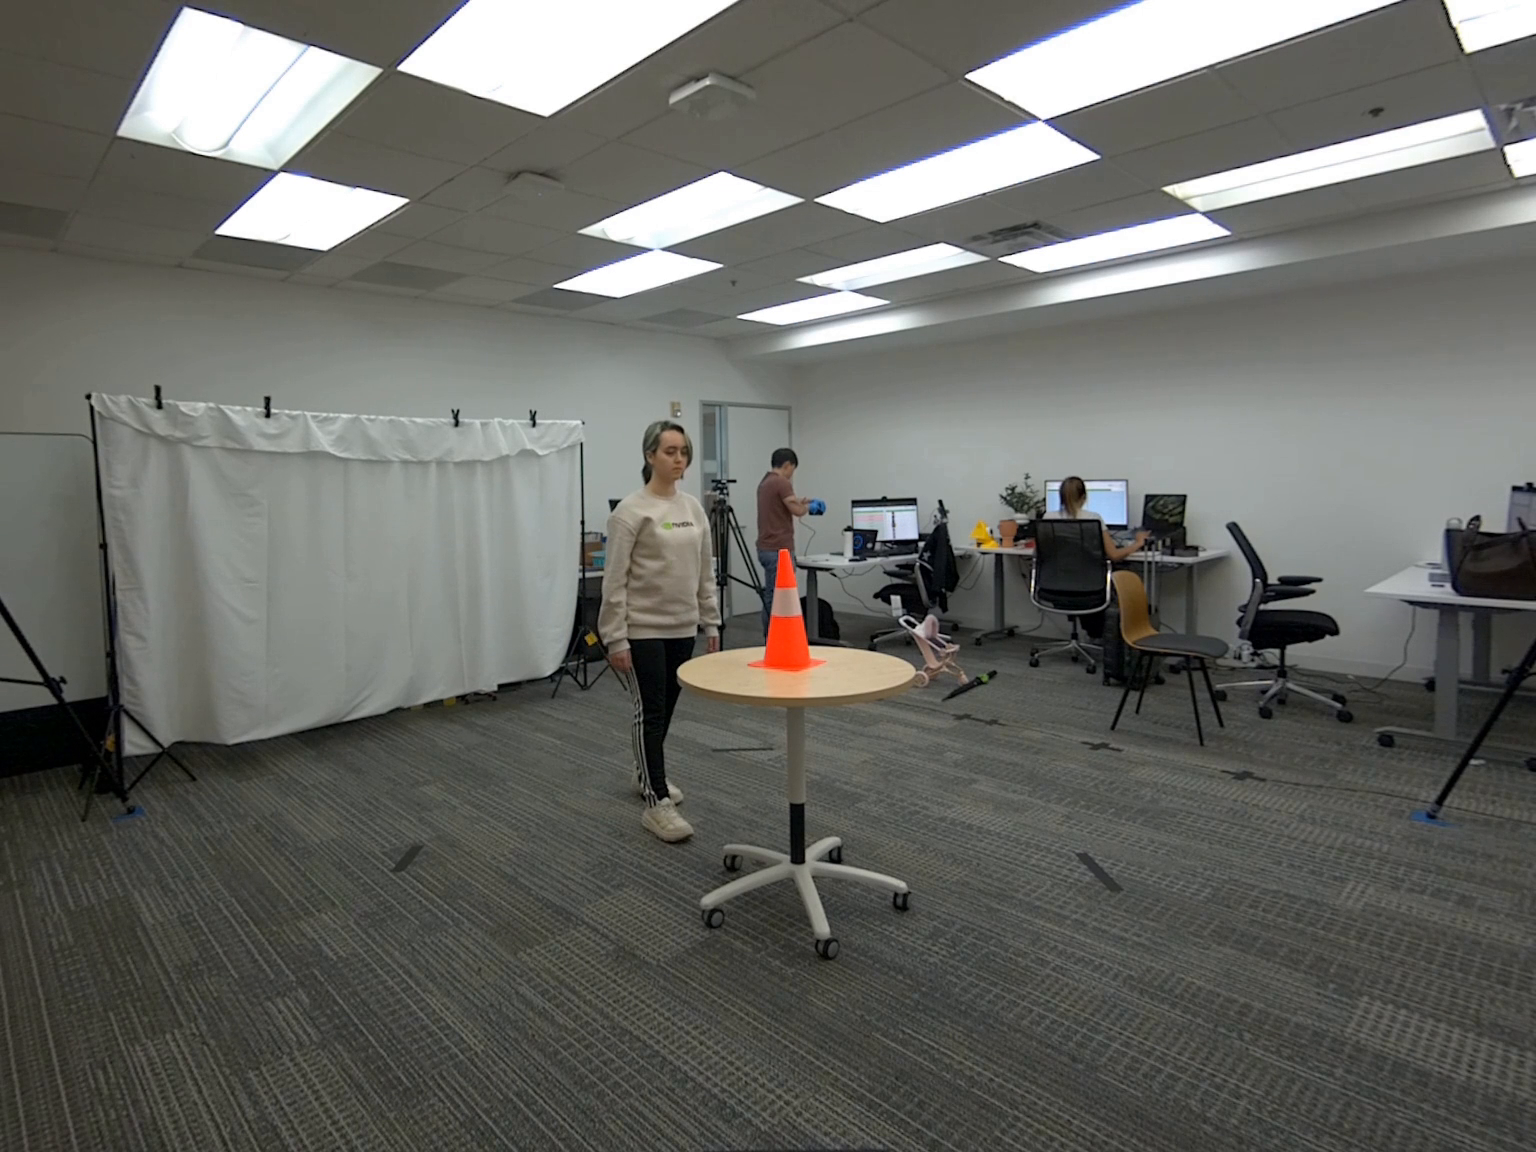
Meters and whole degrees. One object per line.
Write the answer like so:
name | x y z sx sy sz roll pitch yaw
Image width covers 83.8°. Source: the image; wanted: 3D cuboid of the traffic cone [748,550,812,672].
traffic cone | 0.061 0.107 2.829 0.209 0.382 0.200 1 5 35
